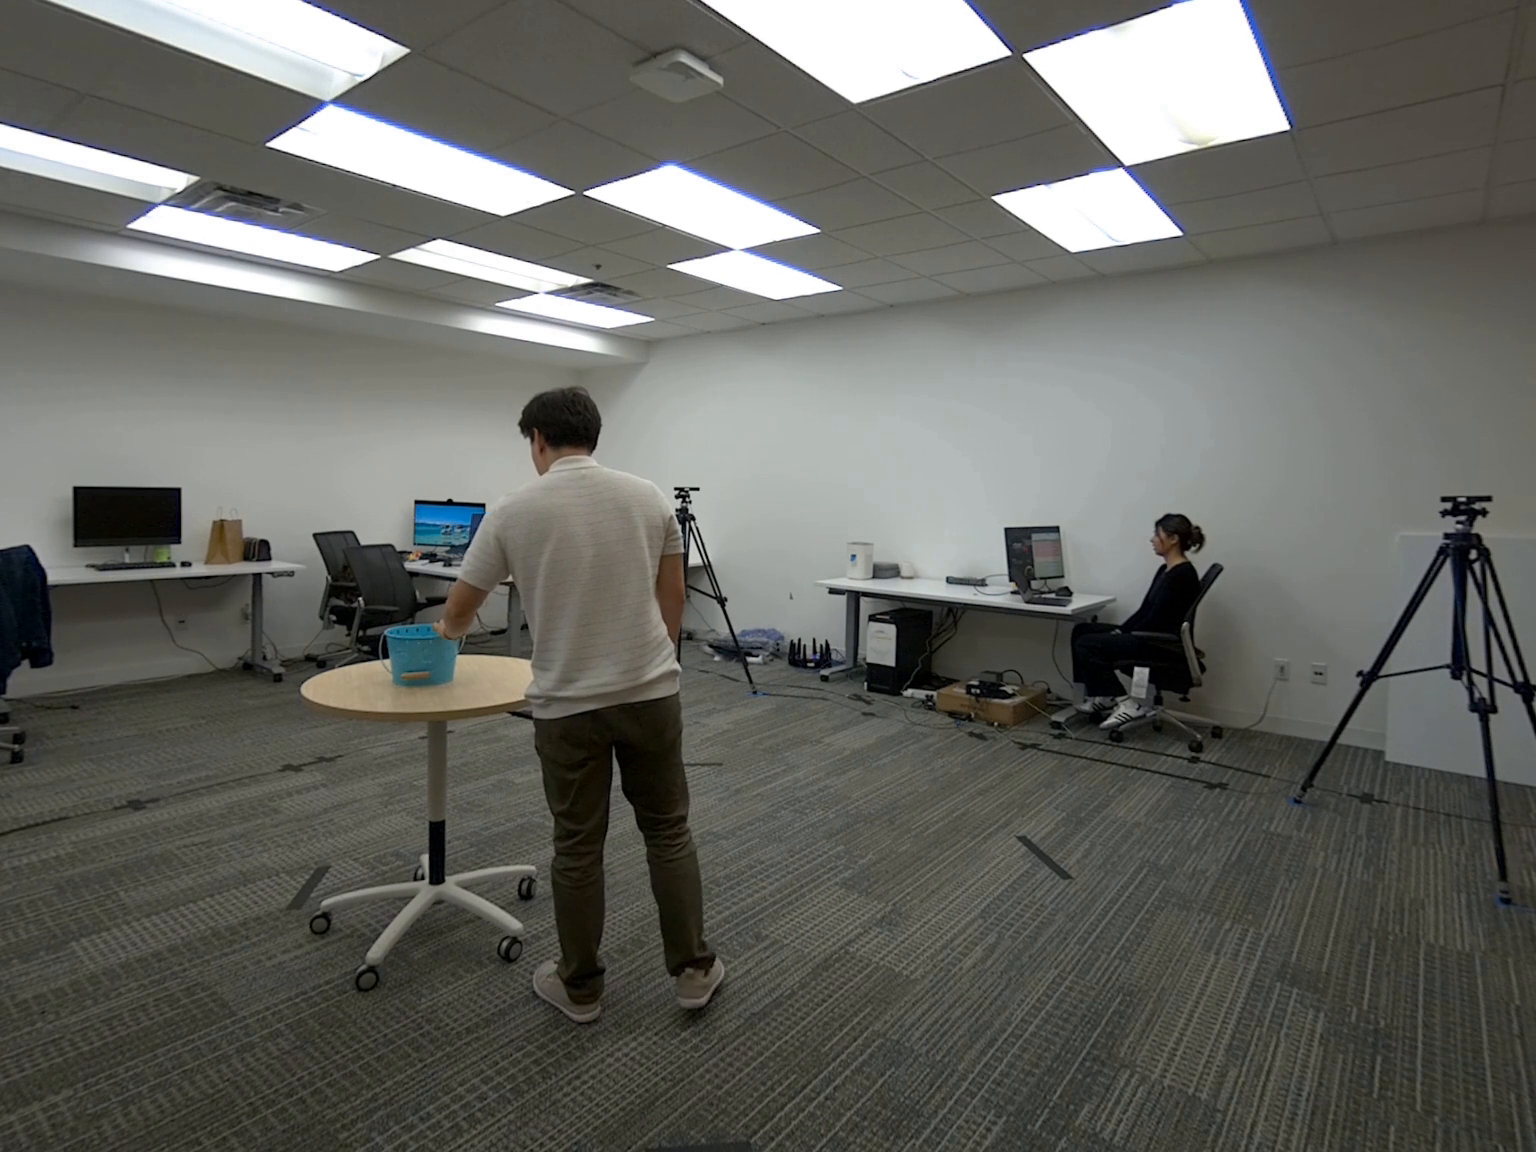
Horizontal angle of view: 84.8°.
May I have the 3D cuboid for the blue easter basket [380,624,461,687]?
[{"bbox_3d":[-1.081,0.246,2.624,0.243,0.155,0.245,0,5,-2],"label":"blue easter basket"}]
